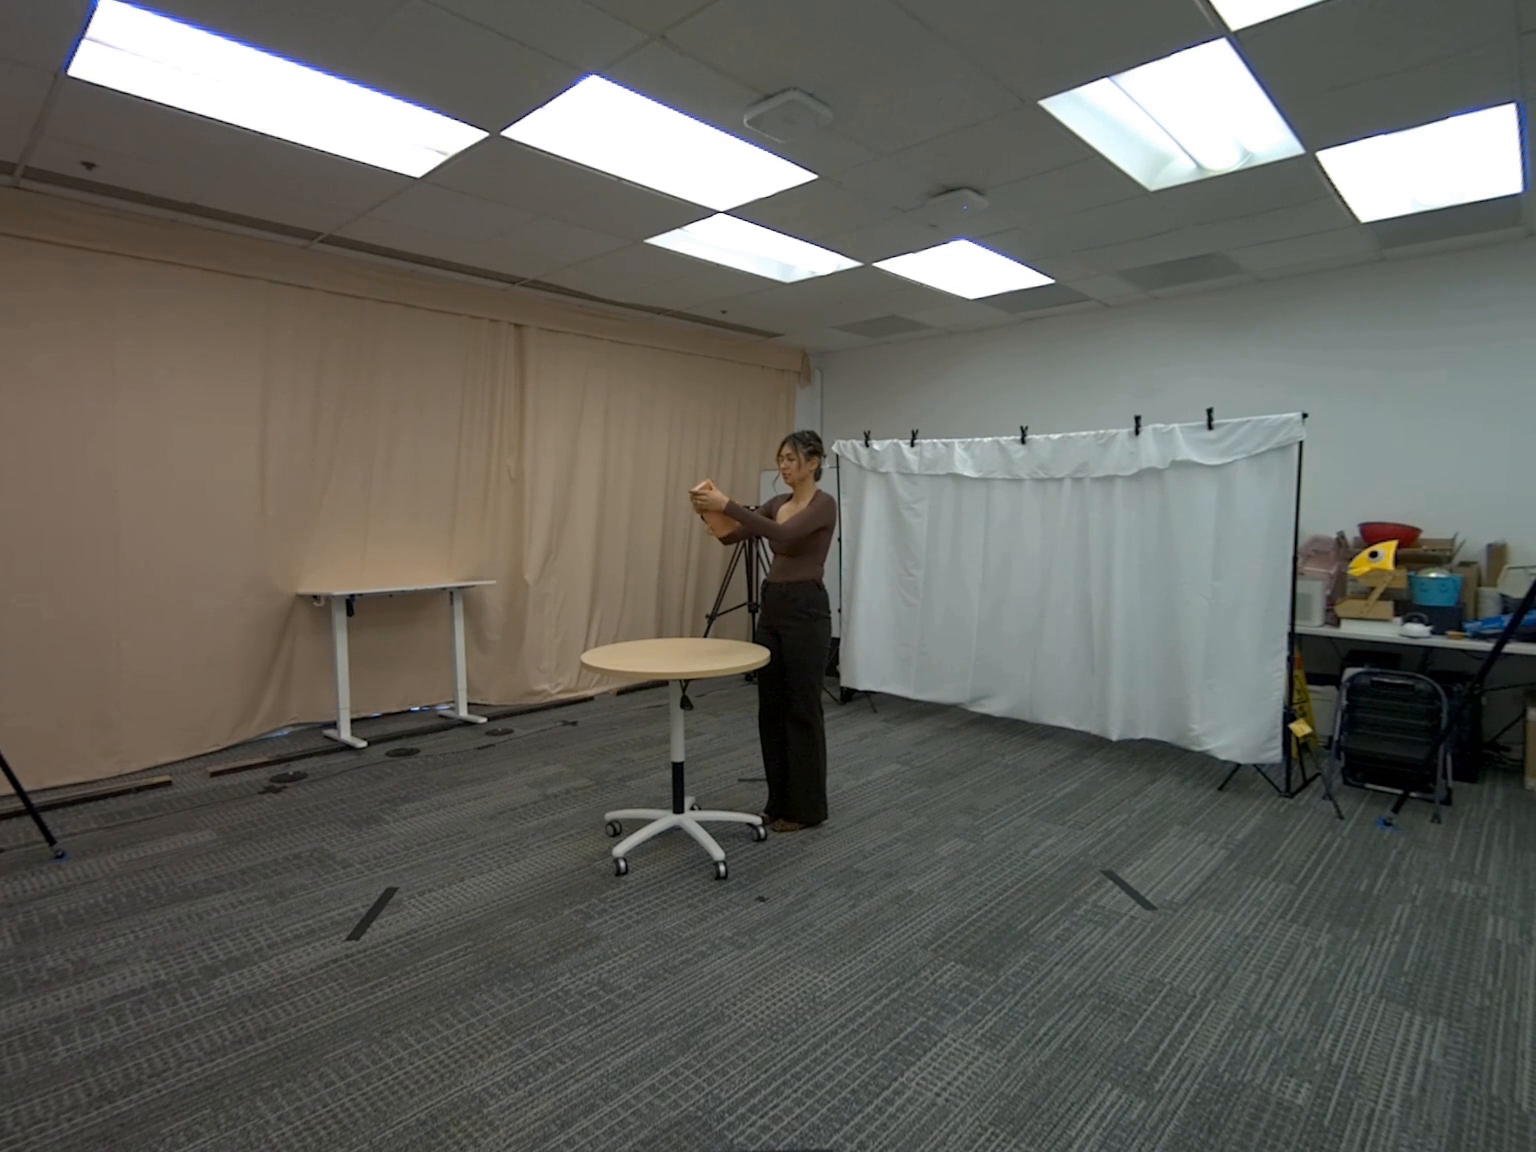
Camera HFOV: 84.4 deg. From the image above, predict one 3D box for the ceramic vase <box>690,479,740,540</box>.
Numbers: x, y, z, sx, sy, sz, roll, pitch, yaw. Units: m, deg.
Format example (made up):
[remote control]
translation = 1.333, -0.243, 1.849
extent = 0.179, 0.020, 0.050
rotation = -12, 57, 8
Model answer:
[ceramic vase]
translation = -0.220, -0.283, 3.449
extent = 0.136, 0.216, 0.159
rotation = -27, 19, 22
